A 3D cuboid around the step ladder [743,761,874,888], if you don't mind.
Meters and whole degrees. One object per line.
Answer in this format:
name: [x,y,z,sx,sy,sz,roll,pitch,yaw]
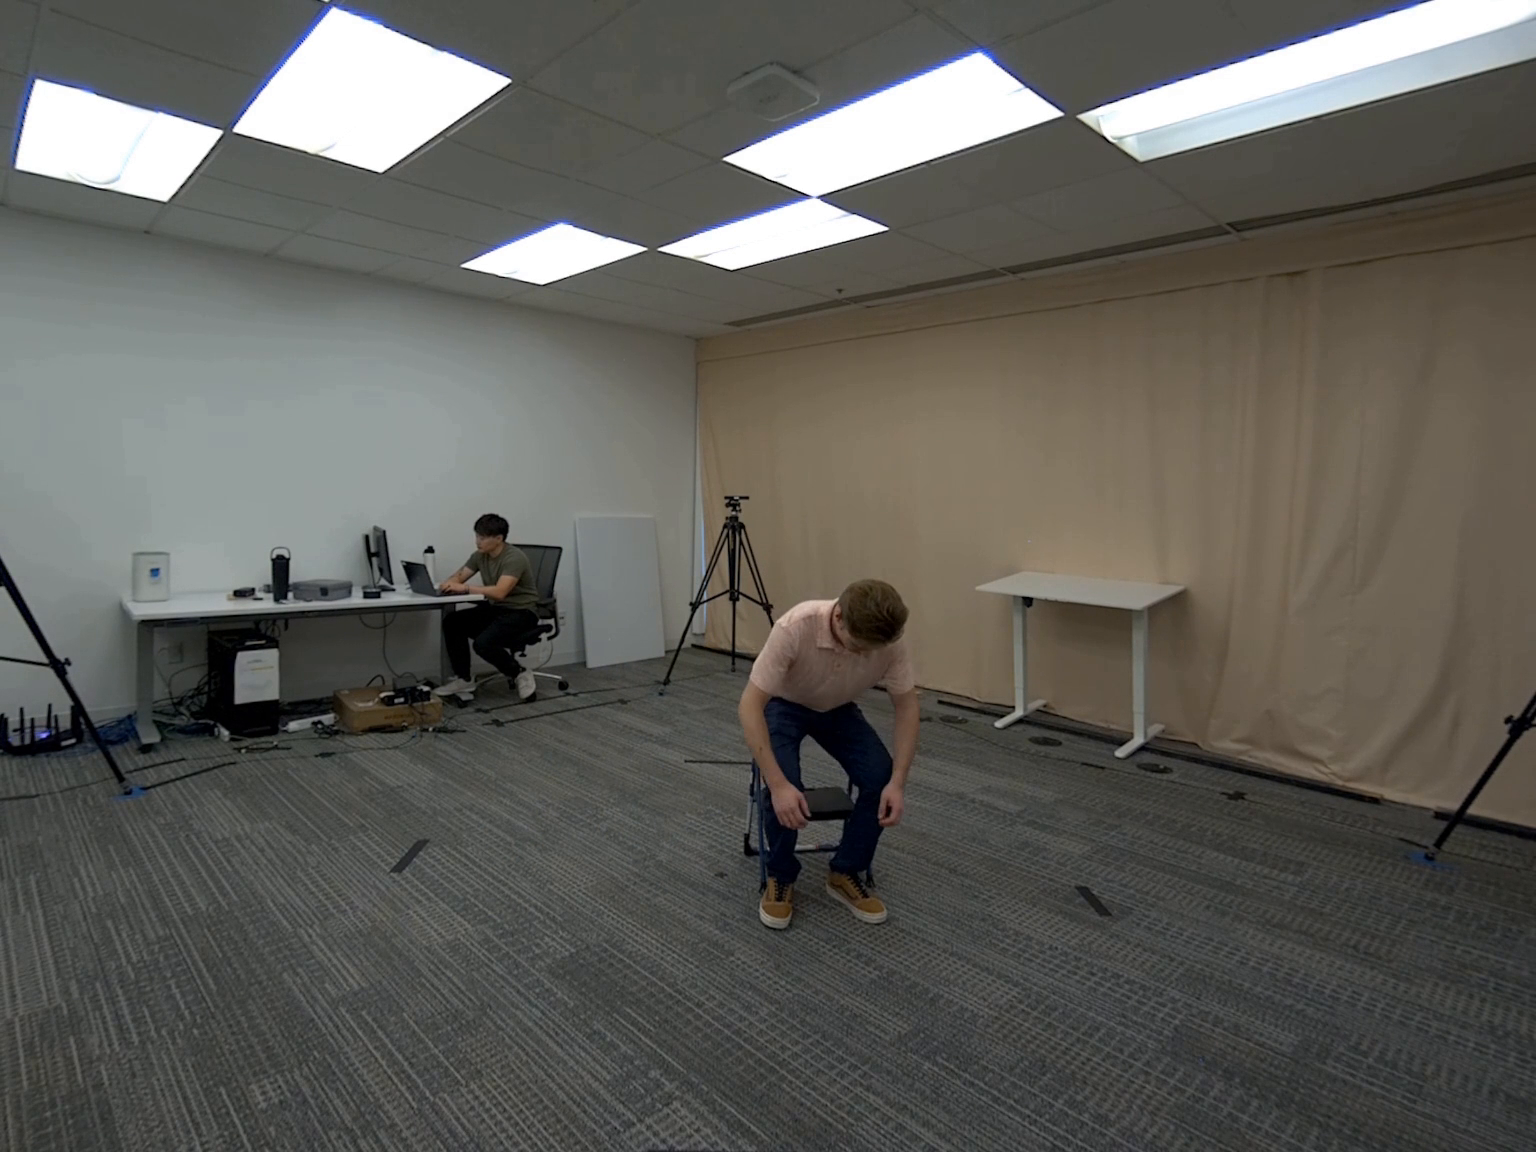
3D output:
step ladder: [0.145,0.805,3.154,0.426,0.605,0.353,1,3,-12]
